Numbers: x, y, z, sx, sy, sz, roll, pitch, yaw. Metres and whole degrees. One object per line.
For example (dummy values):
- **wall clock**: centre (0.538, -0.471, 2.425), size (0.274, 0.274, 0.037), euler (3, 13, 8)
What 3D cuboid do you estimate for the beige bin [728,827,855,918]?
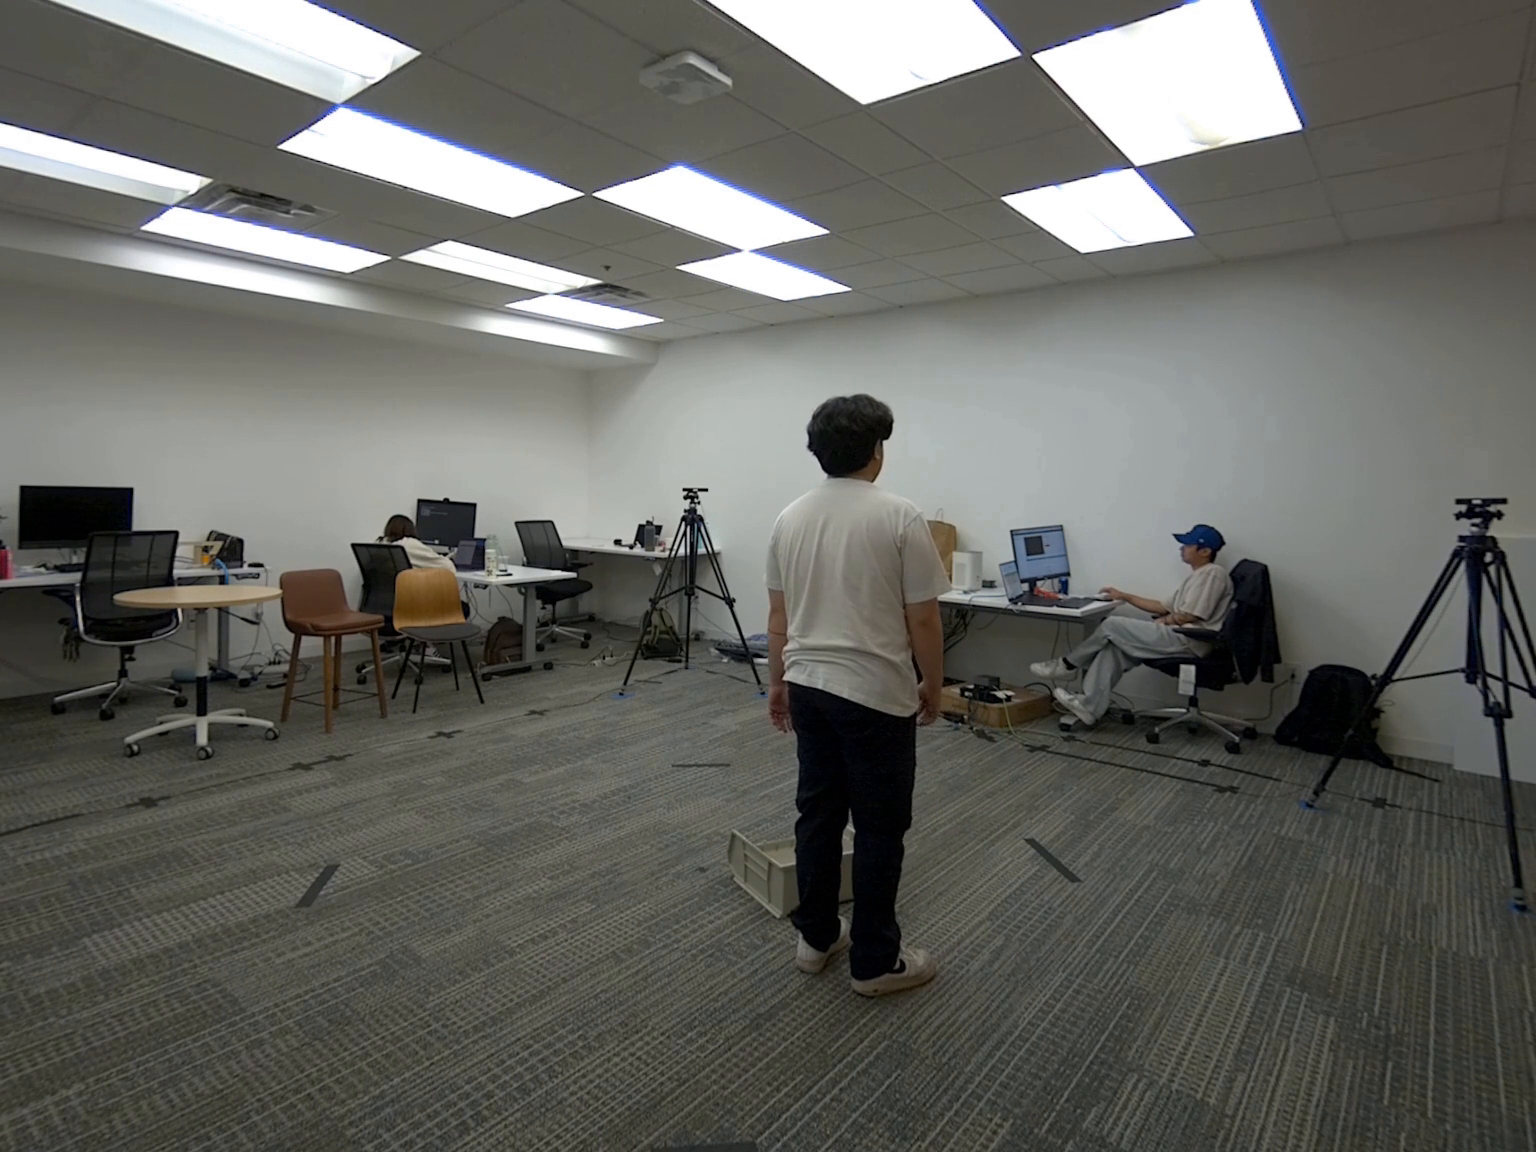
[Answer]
- **beige bin**: centre (0.117, 0.998, 2.996), size (0.411, 0.188, 0.389), euler (-1, 6, -29)
